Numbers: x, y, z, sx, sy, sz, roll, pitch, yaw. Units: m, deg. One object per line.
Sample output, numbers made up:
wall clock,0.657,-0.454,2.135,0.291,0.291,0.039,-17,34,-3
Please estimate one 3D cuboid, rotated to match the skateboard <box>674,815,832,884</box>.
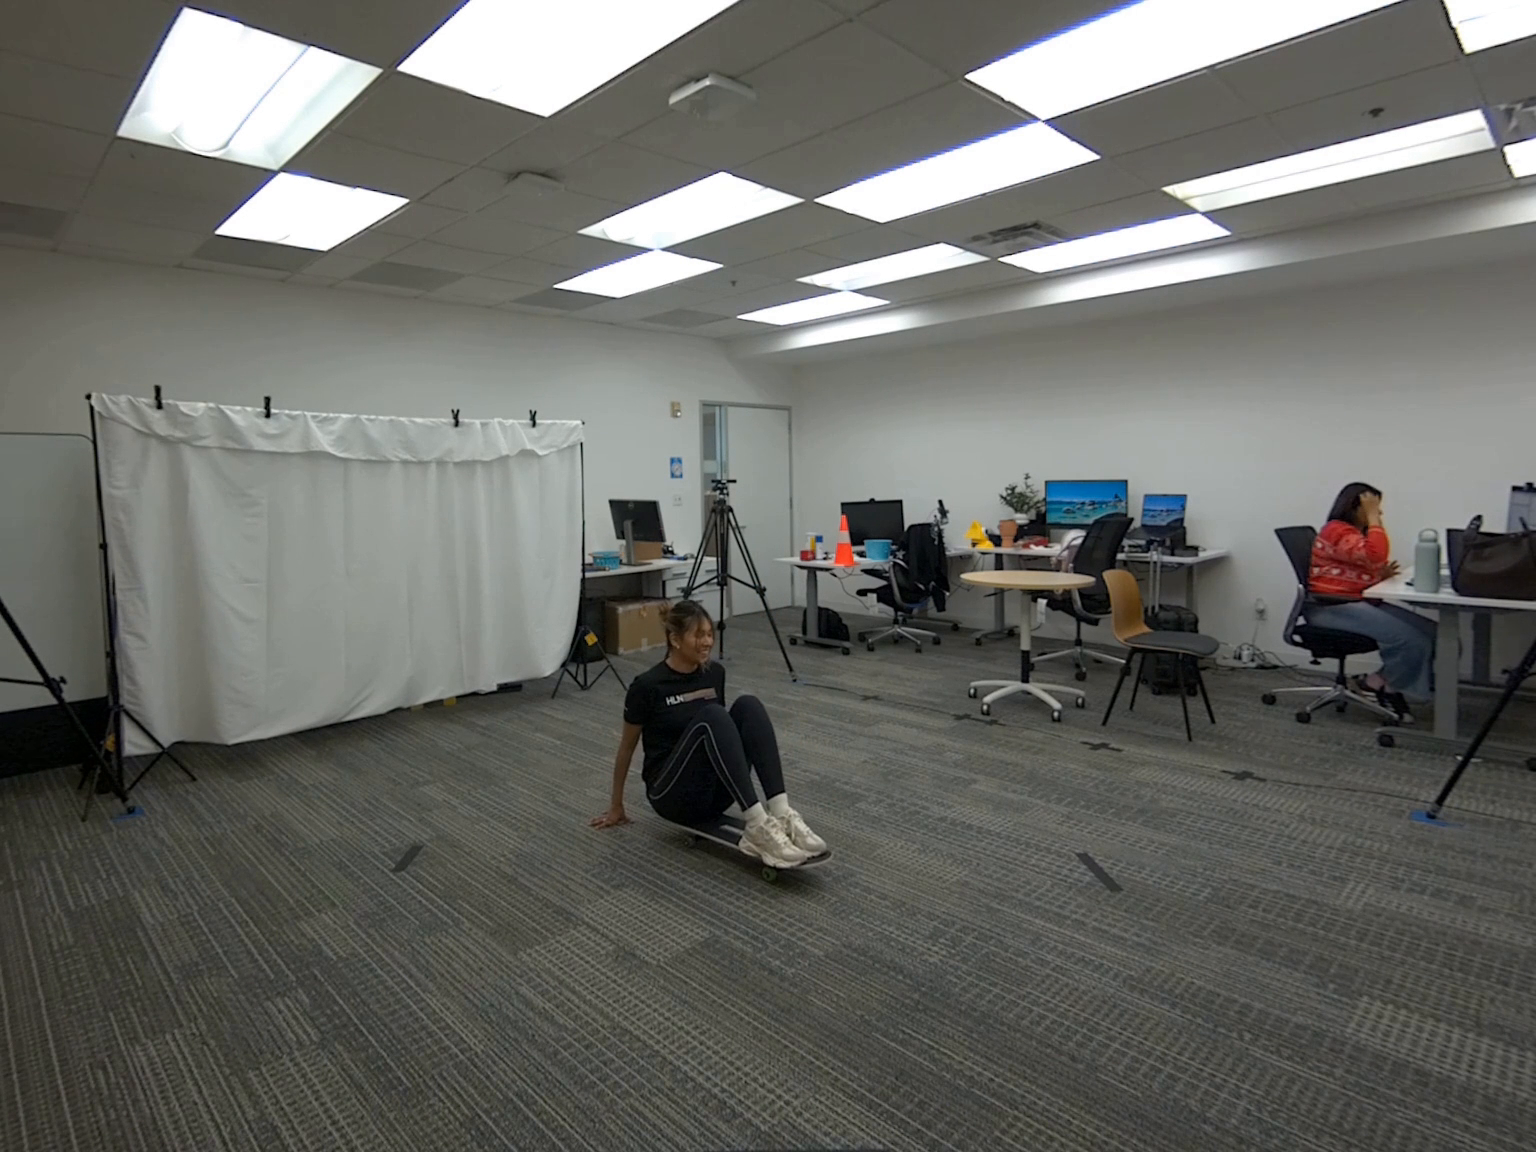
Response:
skateboard,-0.100,0.999,3.162,0.809,0.110,0.188,4,6,43
